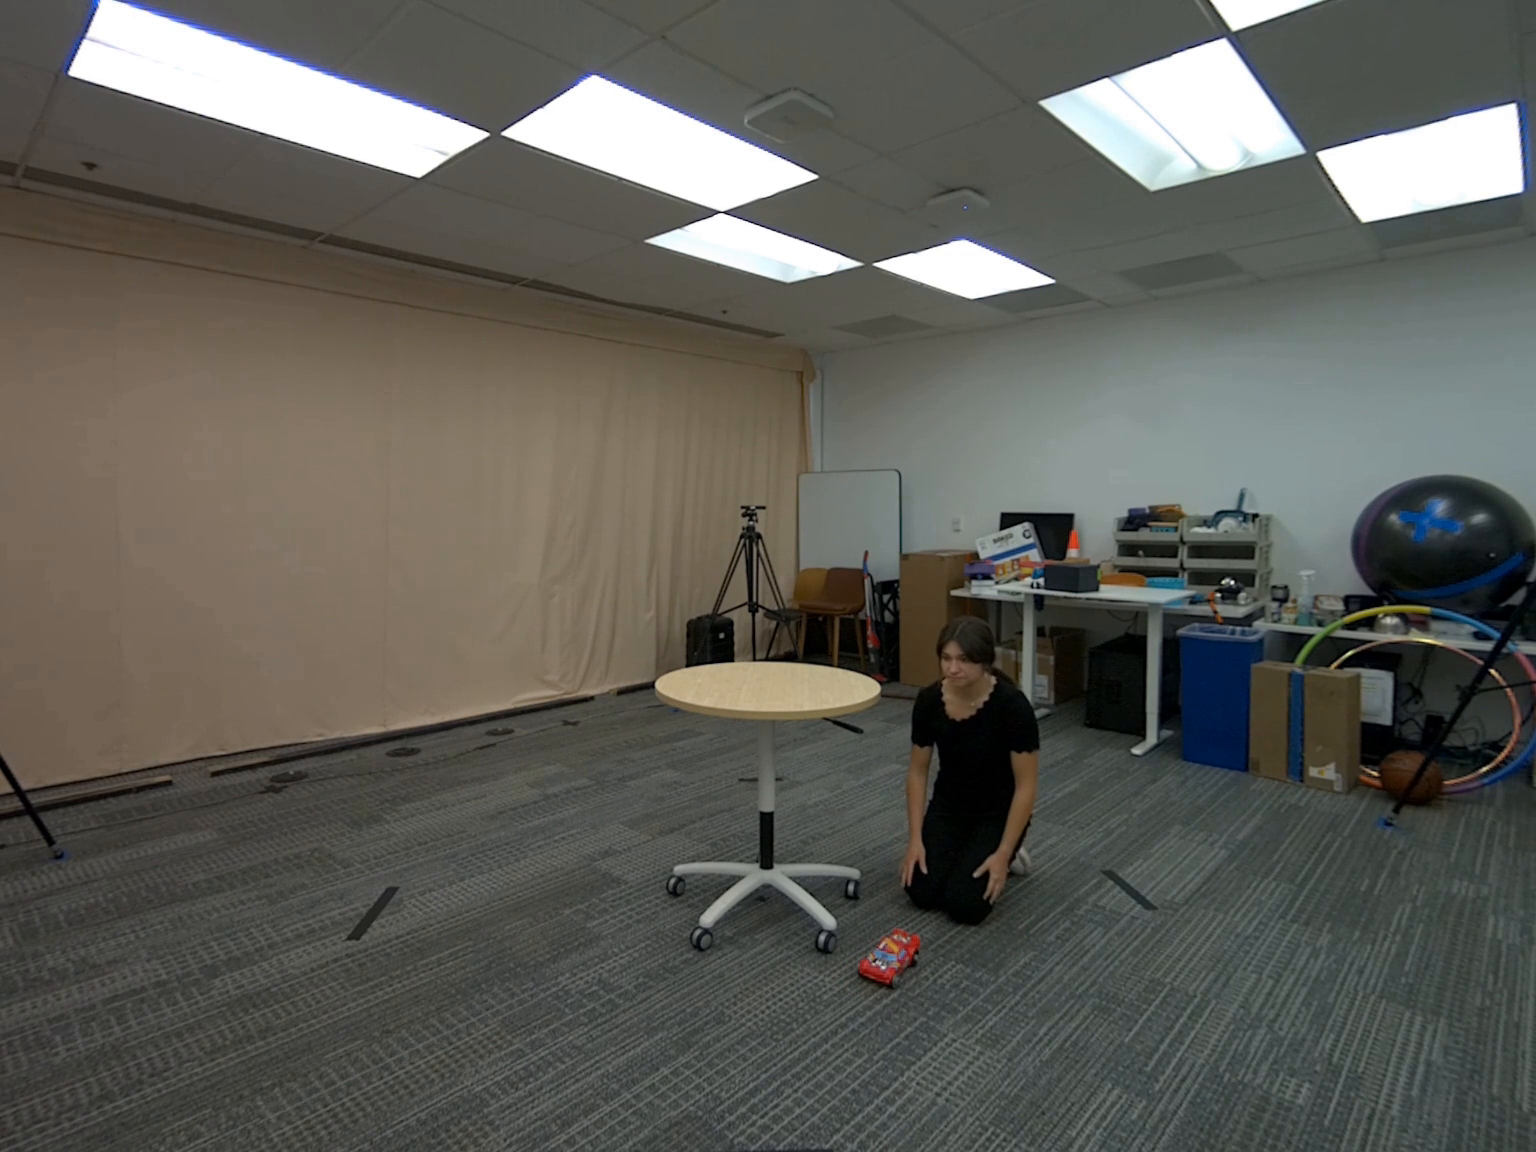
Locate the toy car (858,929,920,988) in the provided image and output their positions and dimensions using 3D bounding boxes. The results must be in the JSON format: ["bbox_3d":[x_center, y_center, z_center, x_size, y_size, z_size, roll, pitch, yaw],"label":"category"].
[{"bbox_3d":[0.382,1.151,2.534,0.134,0.082,0.249,2,16,36],"label":"toy car"}]
